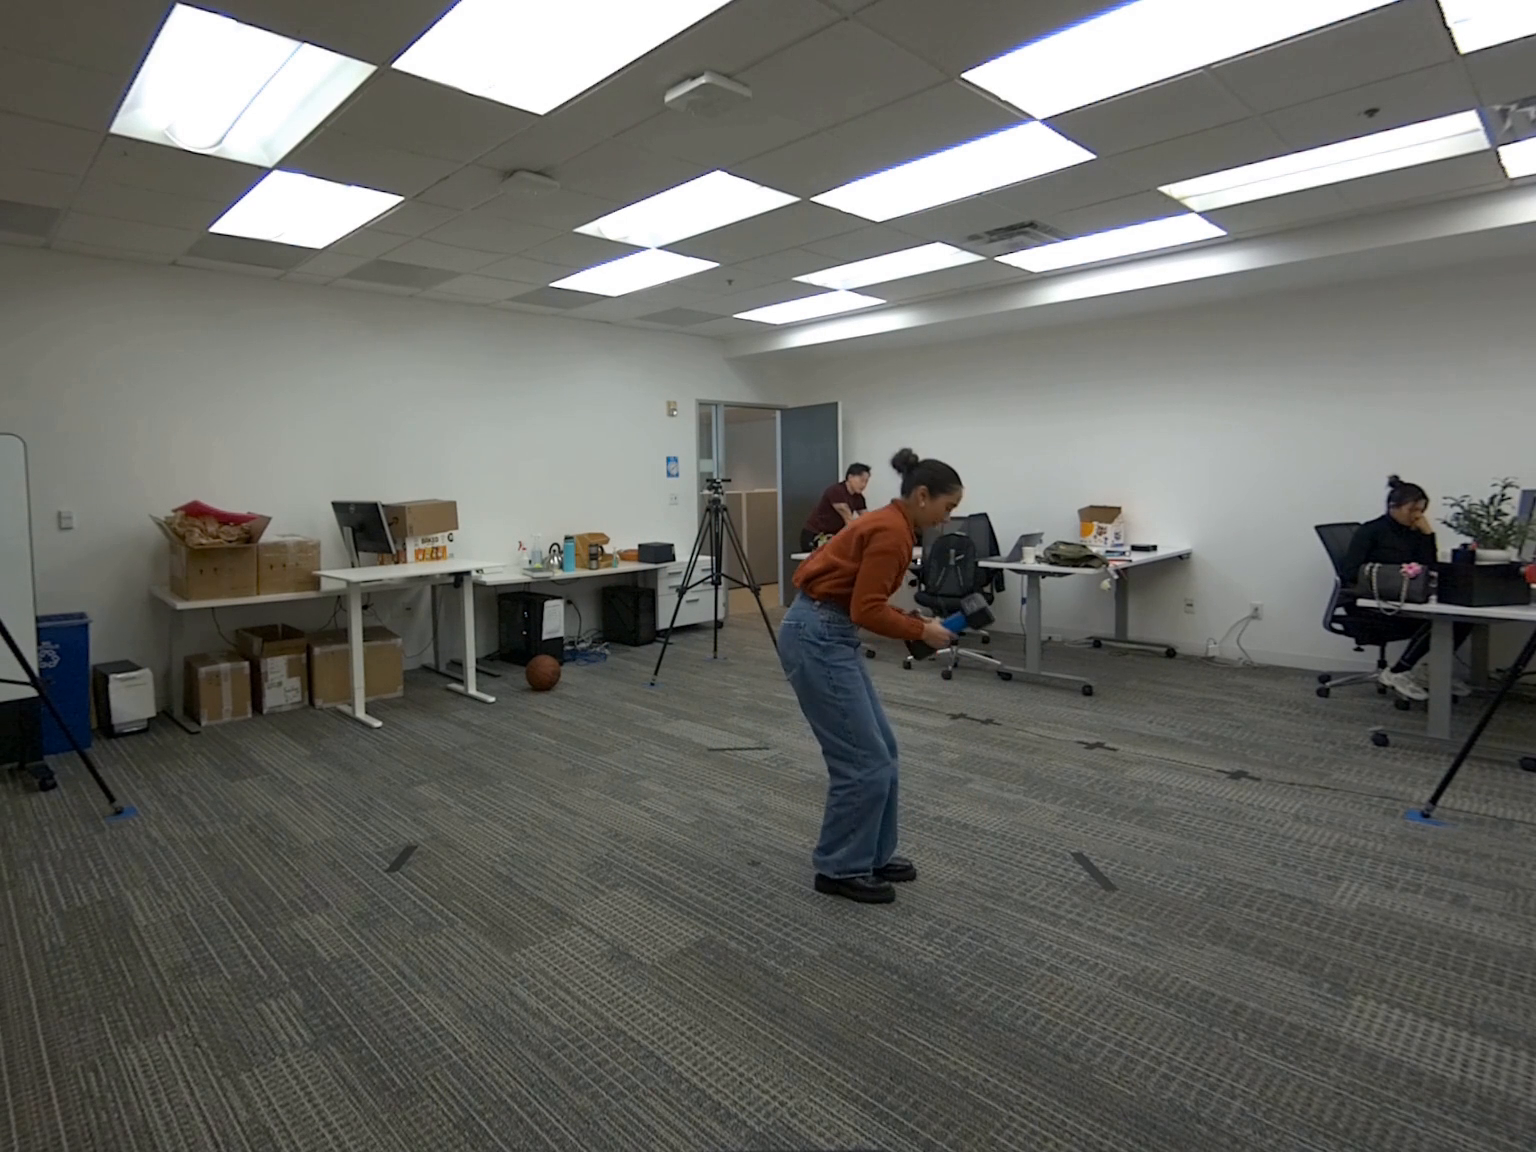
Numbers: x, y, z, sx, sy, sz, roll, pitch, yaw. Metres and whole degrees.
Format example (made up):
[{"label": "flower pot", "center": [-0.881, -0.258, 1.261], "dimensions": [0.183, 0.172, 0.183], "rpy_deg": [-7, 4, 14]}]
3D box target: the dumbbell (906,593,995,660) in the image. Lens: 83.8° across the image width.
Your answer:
[{"label": "dumbbell", "center": [0.585, 0.176, 2.816], "dimensions": [0.295, 0.121, 0.109], "rpy_deg": [-31, 11, 15]}]
